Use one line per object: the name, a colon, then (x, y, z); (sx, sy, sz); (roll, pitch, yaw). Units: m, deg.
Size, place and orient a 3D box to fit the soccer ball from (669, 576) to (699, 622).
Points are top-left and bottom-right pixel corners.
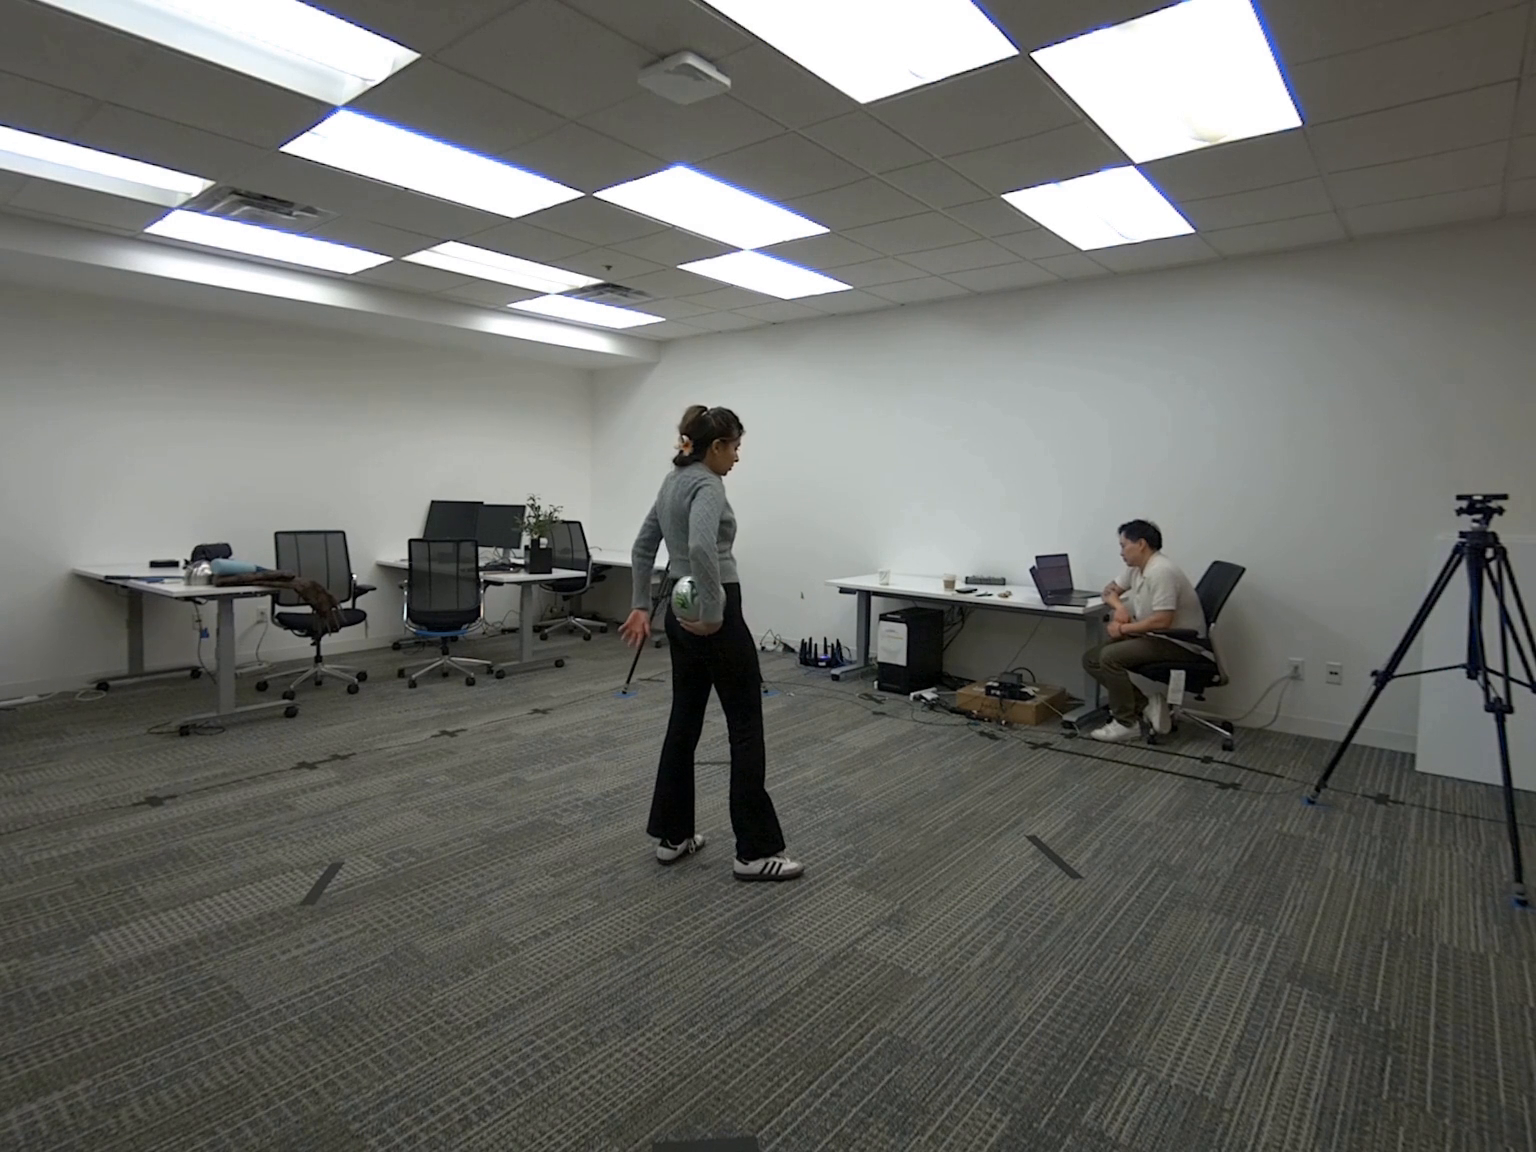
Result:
soccer ball: (-0.239, 0.078, 2.913); (0.187, 0.187, 0.188); (0, 4, -2)
